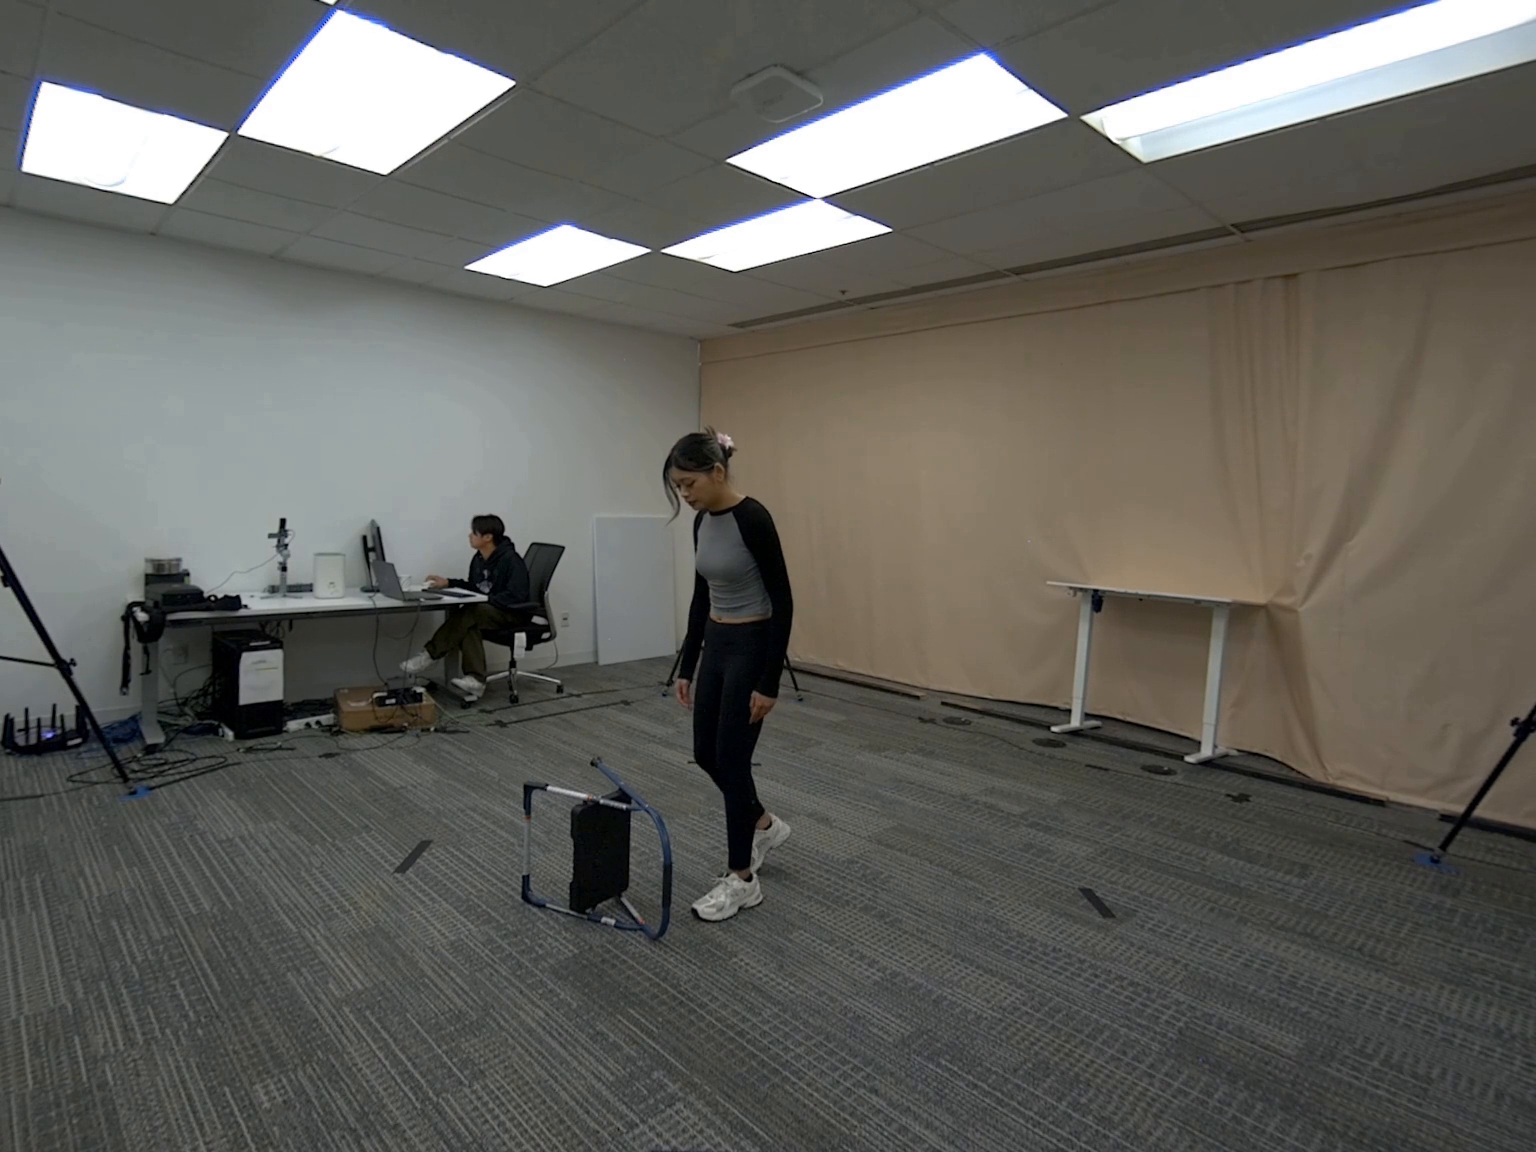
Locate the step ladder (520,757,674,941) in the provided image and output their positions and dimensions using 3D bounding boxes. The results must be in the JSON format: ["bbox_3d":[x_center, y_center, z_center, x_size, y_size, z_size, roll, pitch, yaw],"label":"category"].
[{"bbox_3d":[-0.505,0.920,2.795,0.621,0.429,0.342,6,8,39],"label":"step ladder"}]
